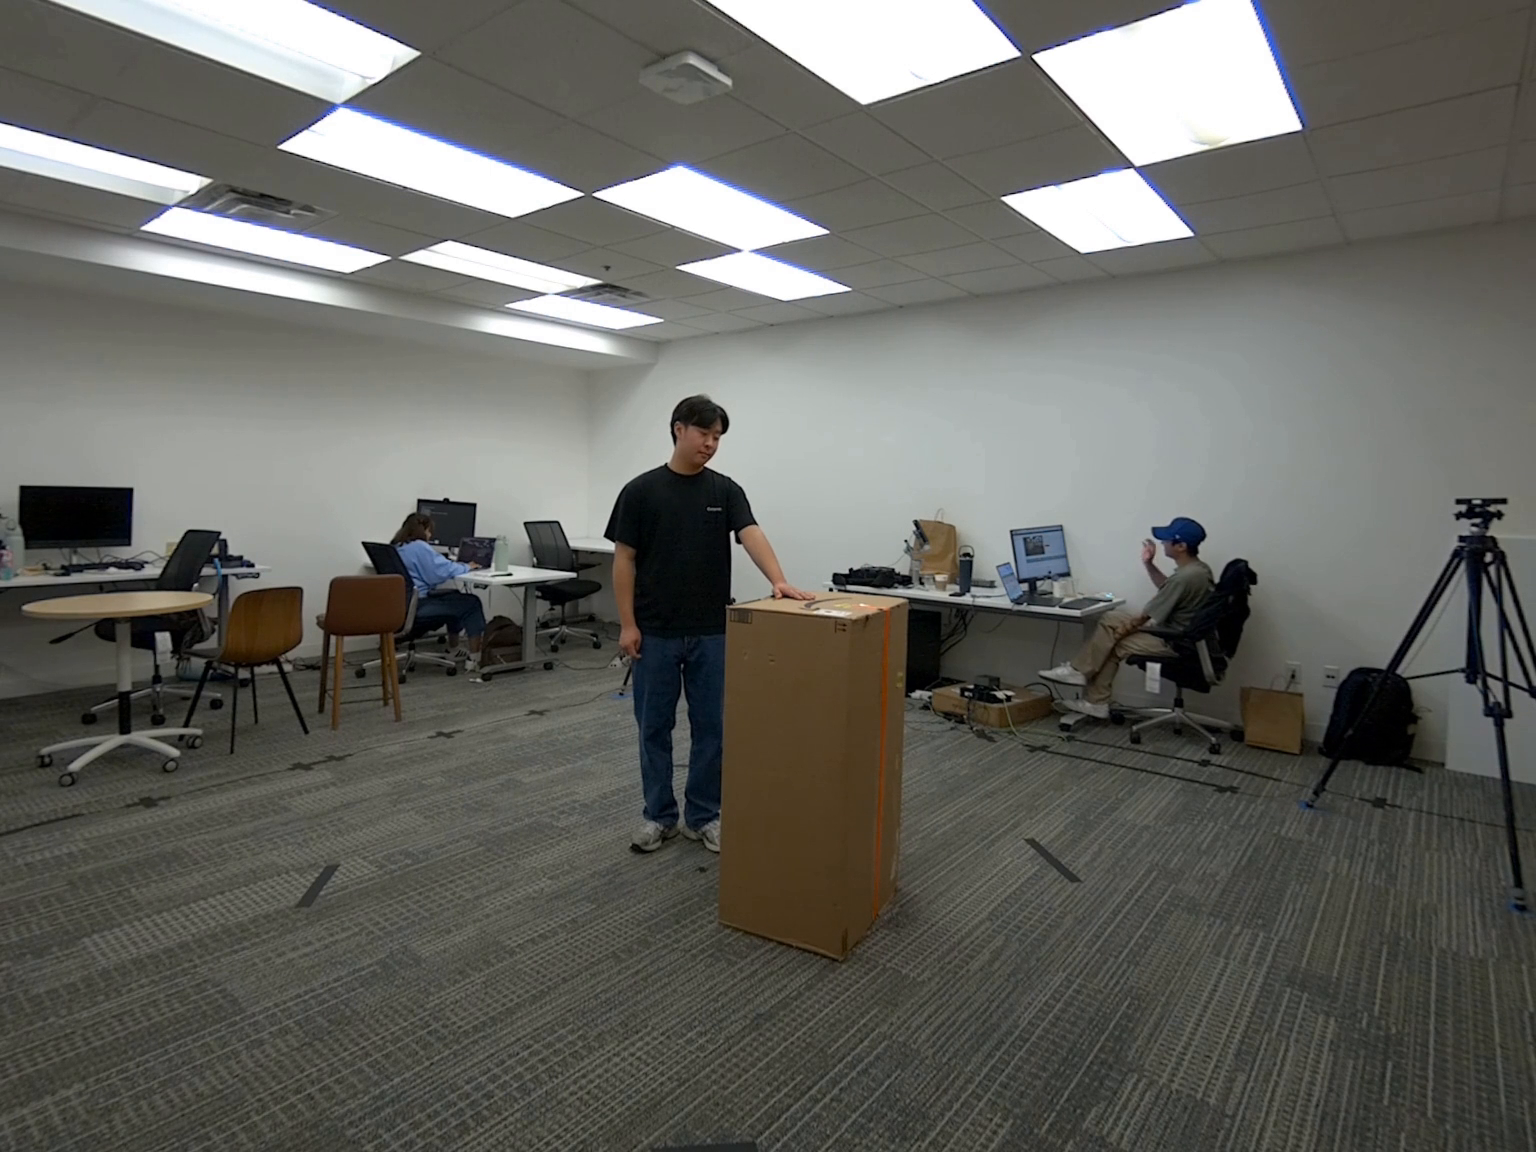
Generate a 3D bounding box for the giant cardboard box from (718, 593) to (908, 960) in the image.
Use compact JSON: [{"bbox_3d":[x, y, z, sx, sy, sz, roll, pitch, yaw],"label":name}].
[{"bbox_3d":[0.160,0.591,2.838,0.460,1.024,0.569,3,4,28],"label":"giant cardboard box"}]
